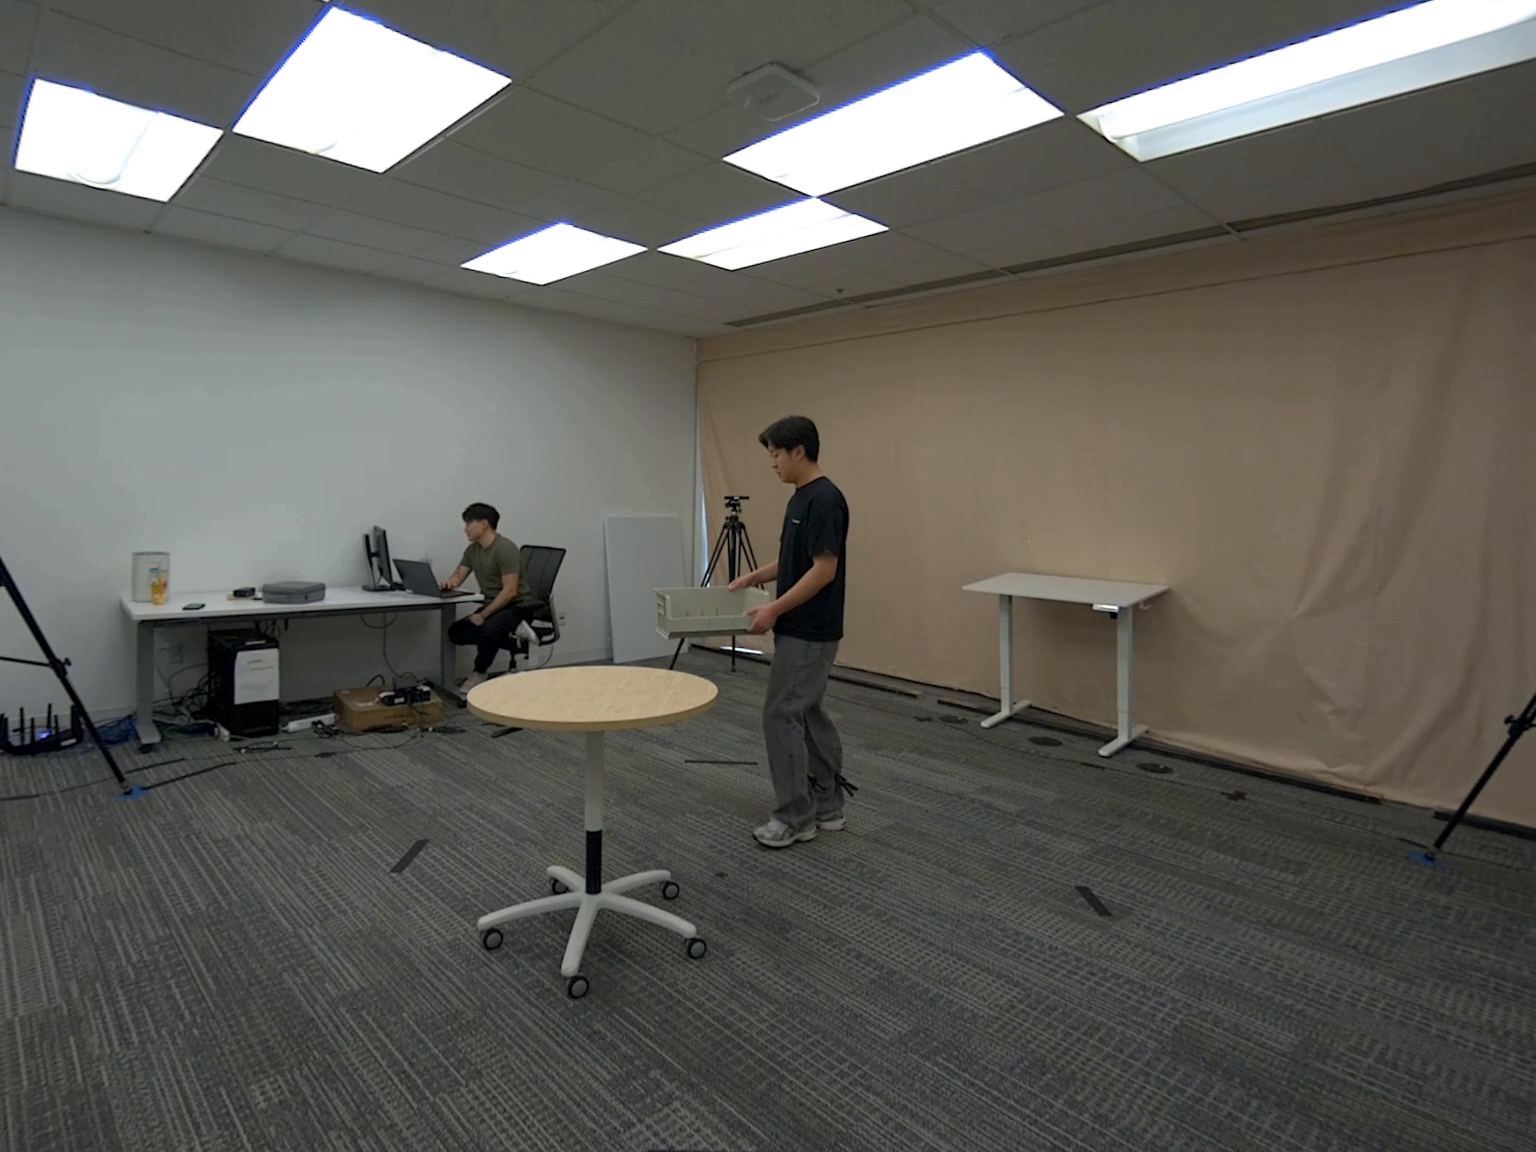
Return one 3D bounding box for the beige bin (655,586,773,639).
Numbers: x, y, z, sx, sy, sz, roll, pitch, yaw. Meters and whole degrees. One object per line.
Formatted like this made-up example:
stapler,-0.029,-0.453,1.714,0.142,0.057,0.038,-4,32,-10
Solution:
beige bin,-0.247,0.149,3.475,0.417,0.189,0.382,-2,2,-16
